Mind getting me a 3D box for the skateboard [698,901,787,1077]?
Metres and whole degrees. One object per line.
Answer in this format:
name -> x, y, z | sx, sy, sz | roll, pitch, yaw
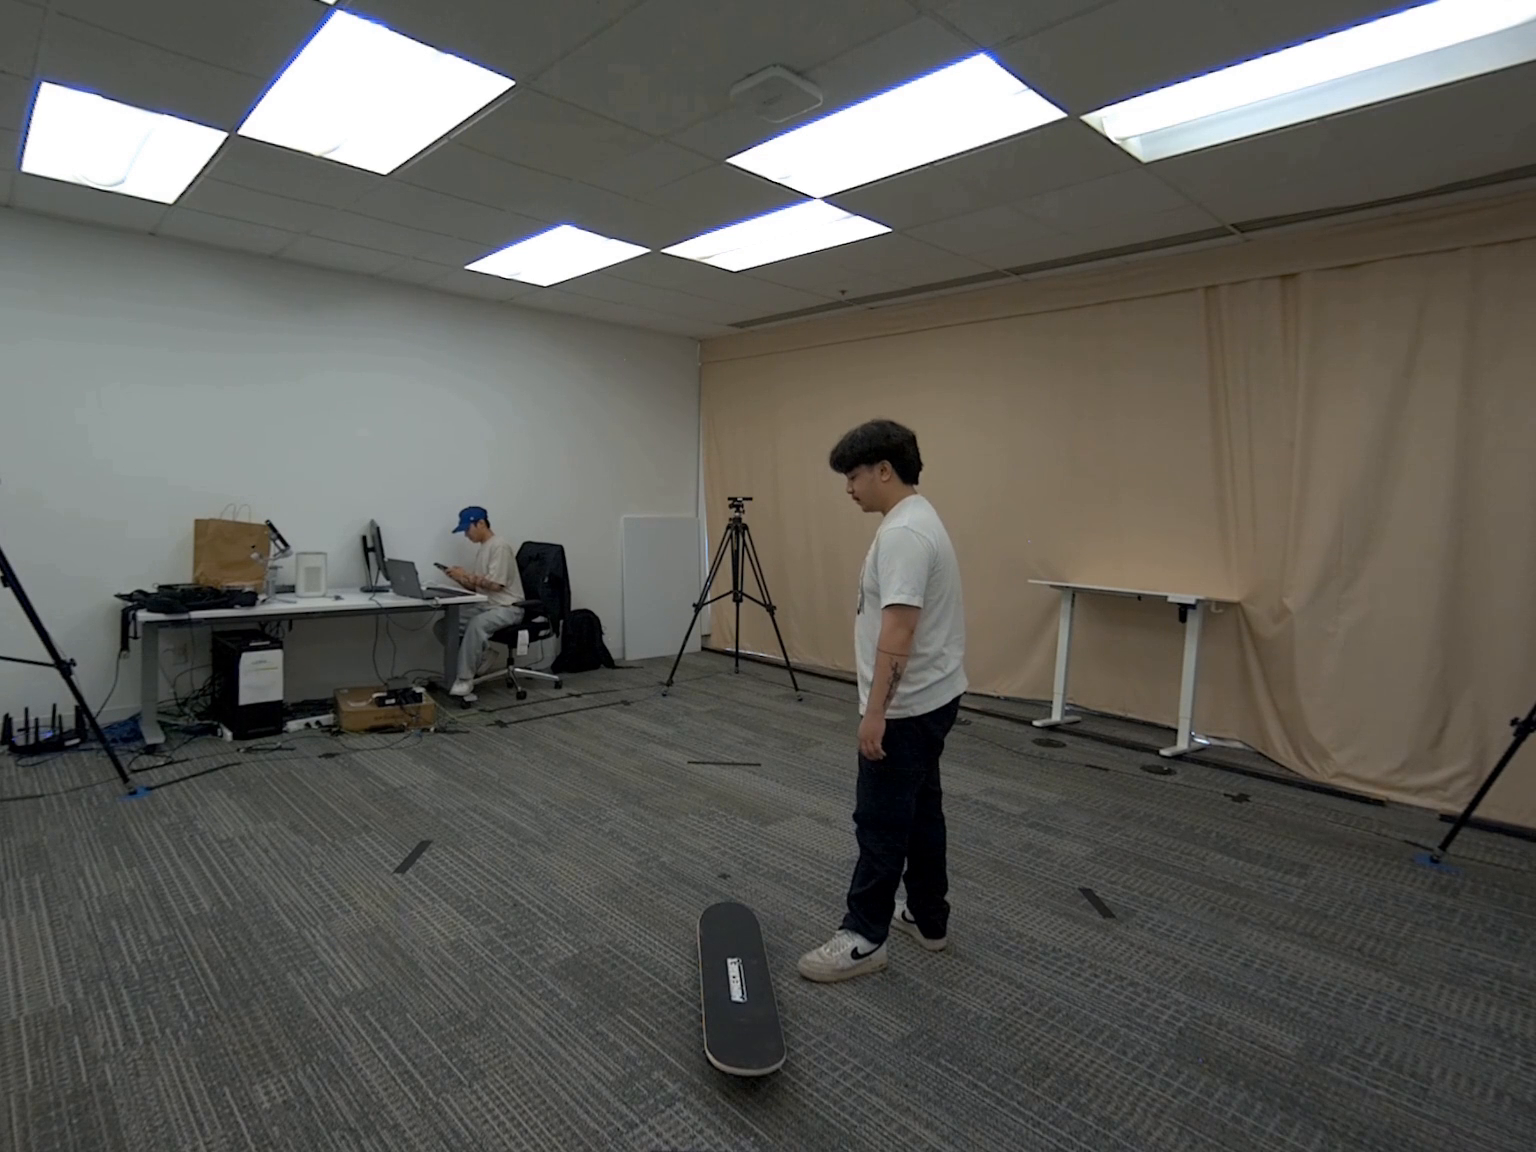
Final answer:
skateboard -> -0.096, 1.126, 2.290 | 0.192, 0.110, 0.791 | 1, 6, -7
